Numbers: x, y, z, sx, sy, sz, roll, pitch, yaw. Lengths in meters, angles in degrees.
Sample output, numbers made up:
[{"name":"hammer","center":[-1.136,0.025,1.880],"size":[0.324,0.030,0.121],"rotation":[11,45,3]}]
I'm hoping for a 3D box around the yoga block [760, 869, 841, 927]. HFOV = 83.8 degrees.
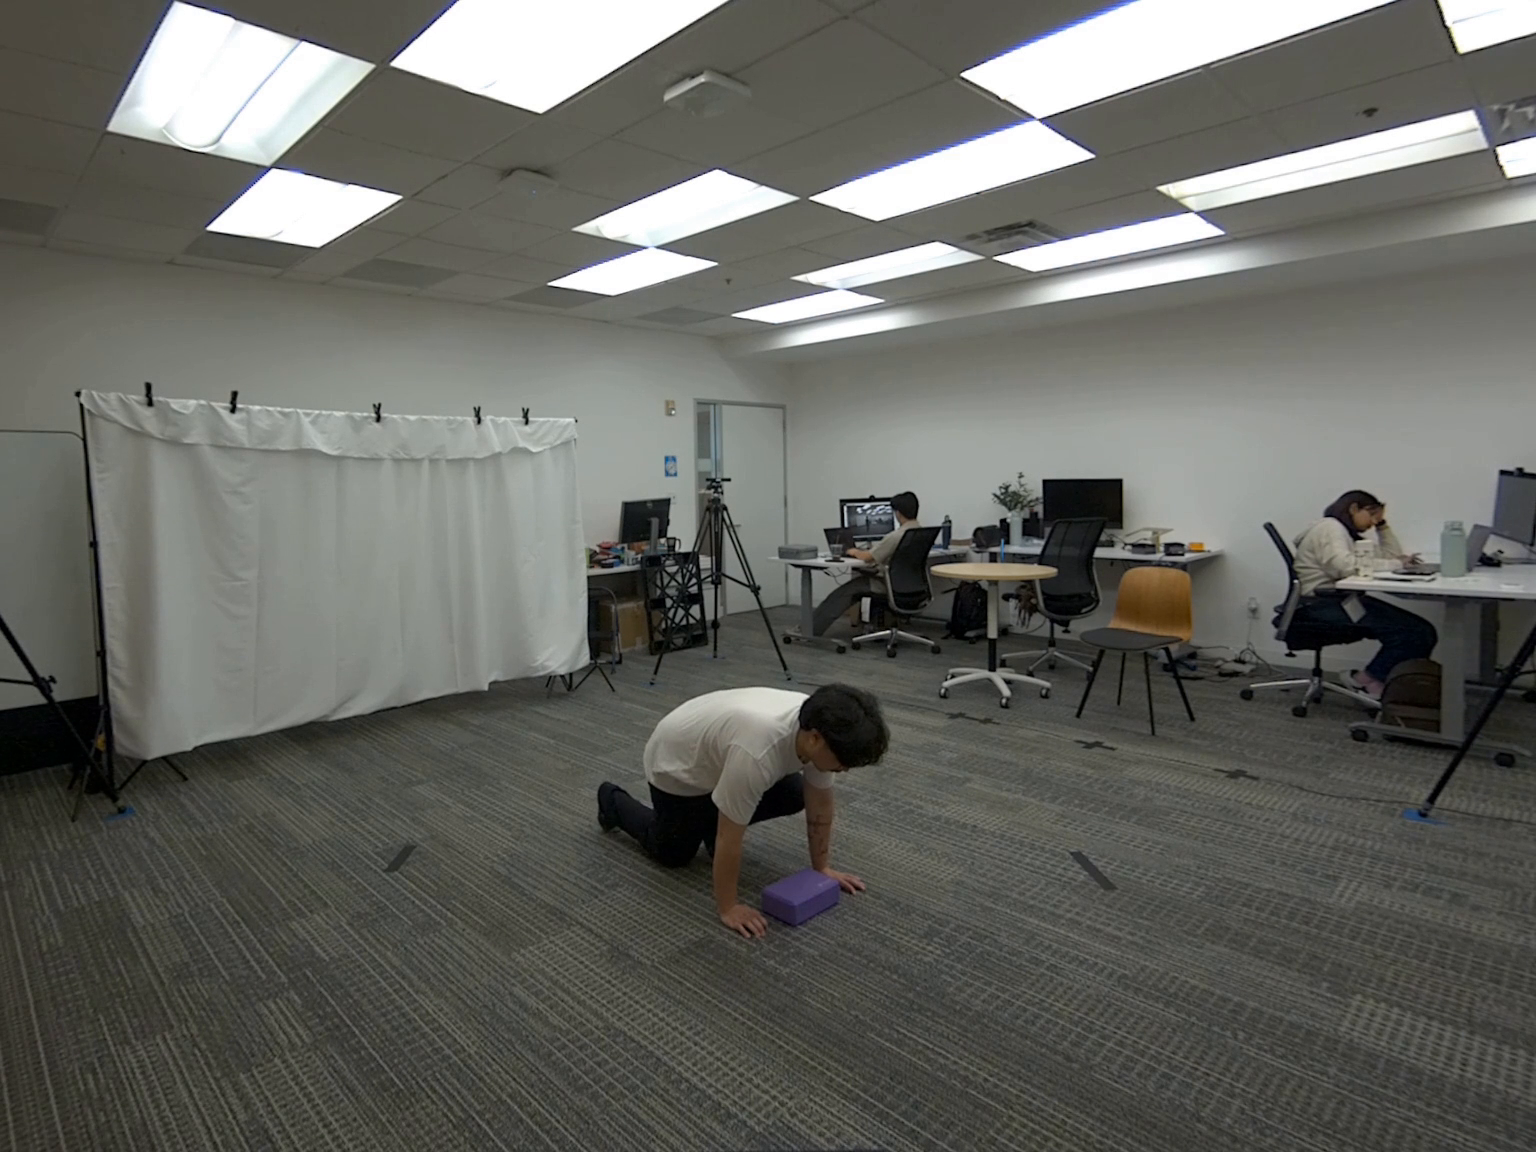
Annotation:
[{"name":"yoga block","center":[0.103,1.042,2.776],"size":[0.153,0.076,0.223],"rotation":[3,8,43]}]
